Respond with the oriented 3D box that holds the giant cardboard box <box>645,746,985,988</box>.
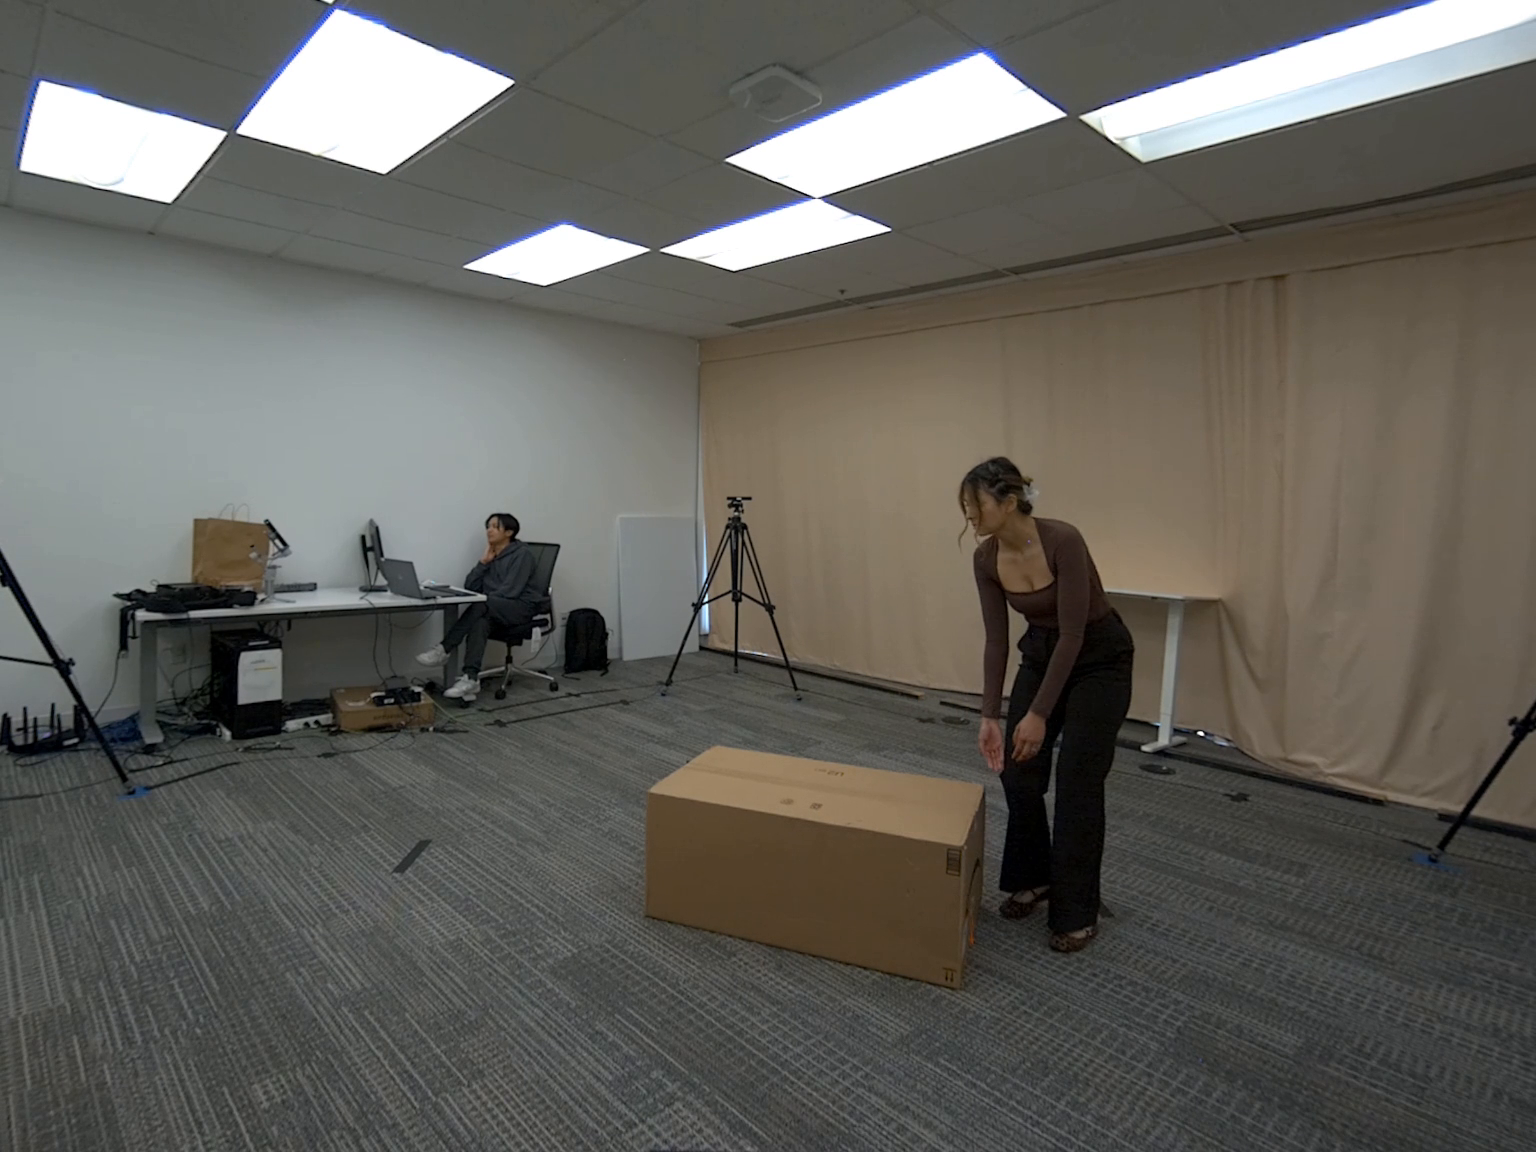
[{"bbox_3d":[0.167,0.923,2.850,1.045,0.446,0.575,4,4,22],"label":"giant cardboard box"}]
